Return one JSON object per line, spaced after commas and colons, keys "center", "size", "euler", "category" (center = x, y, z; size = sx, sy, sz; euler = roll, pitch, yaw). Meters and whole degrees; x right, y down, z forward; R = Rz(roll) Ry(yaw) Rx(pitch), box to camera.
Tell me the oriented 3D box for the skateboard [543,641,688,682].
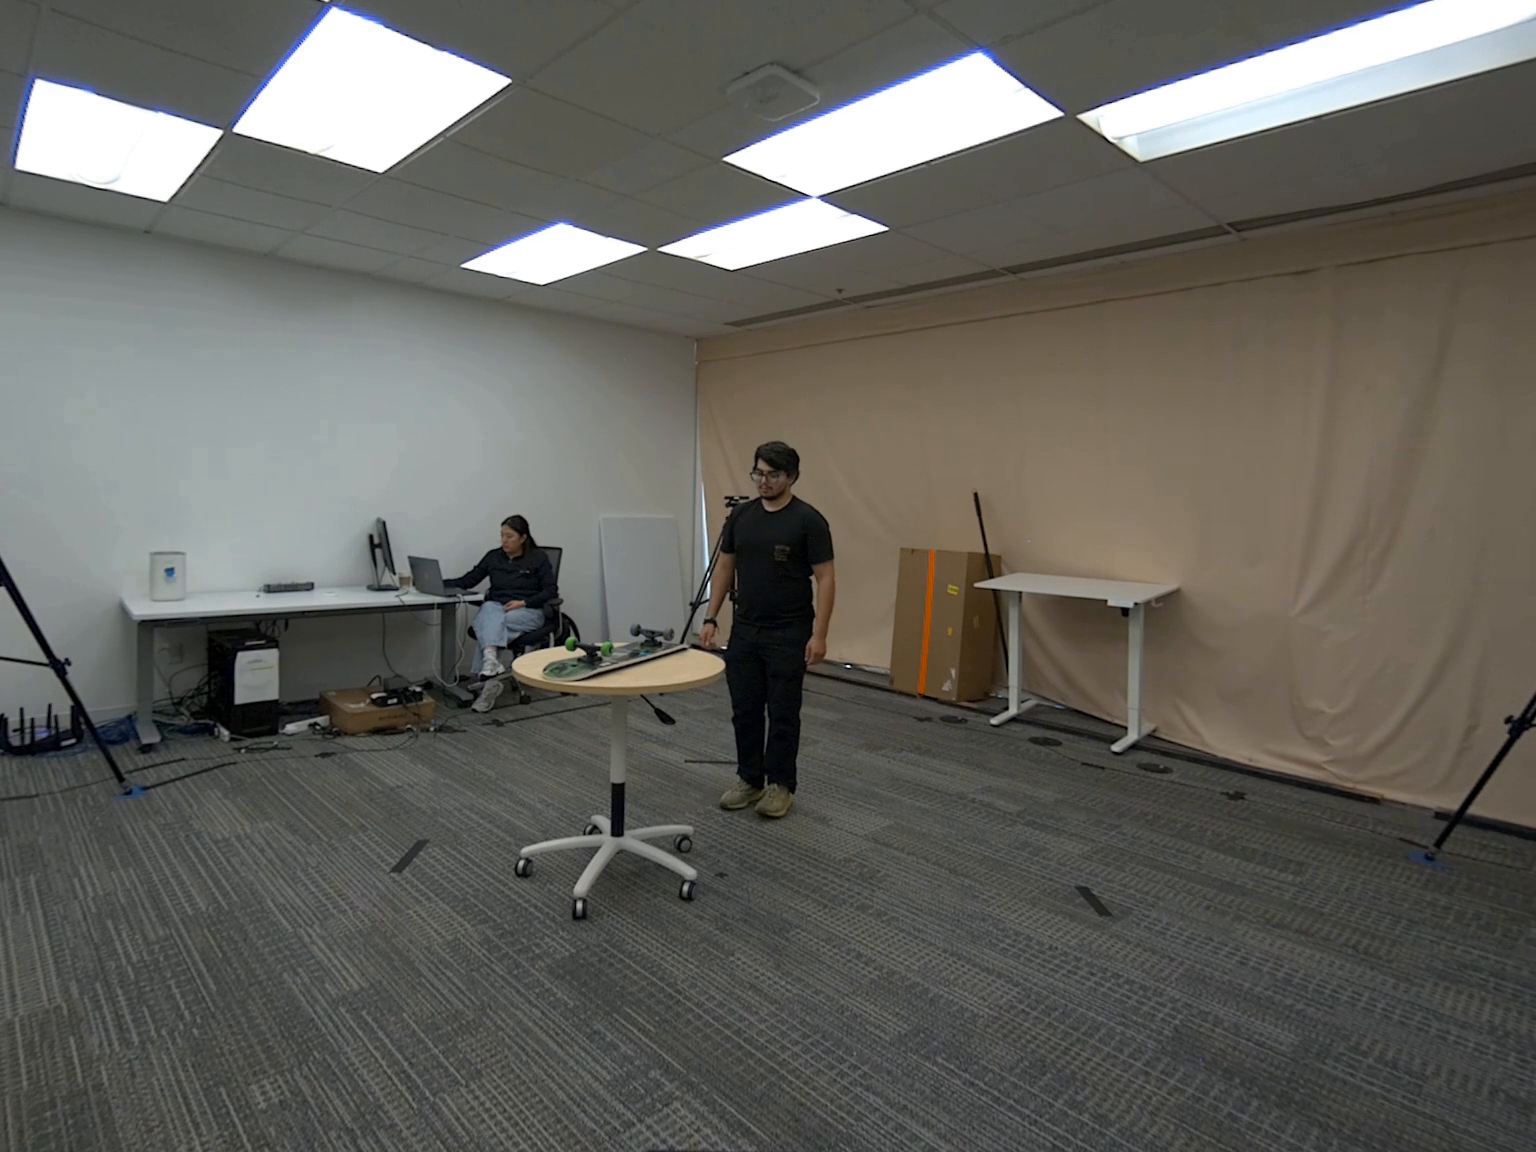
{"center": [-0.550, 0.268, 3.092], "size": [0.197, 0.110, 0.771], "euler": [3, 5, 27], "category": "skateboard"}
